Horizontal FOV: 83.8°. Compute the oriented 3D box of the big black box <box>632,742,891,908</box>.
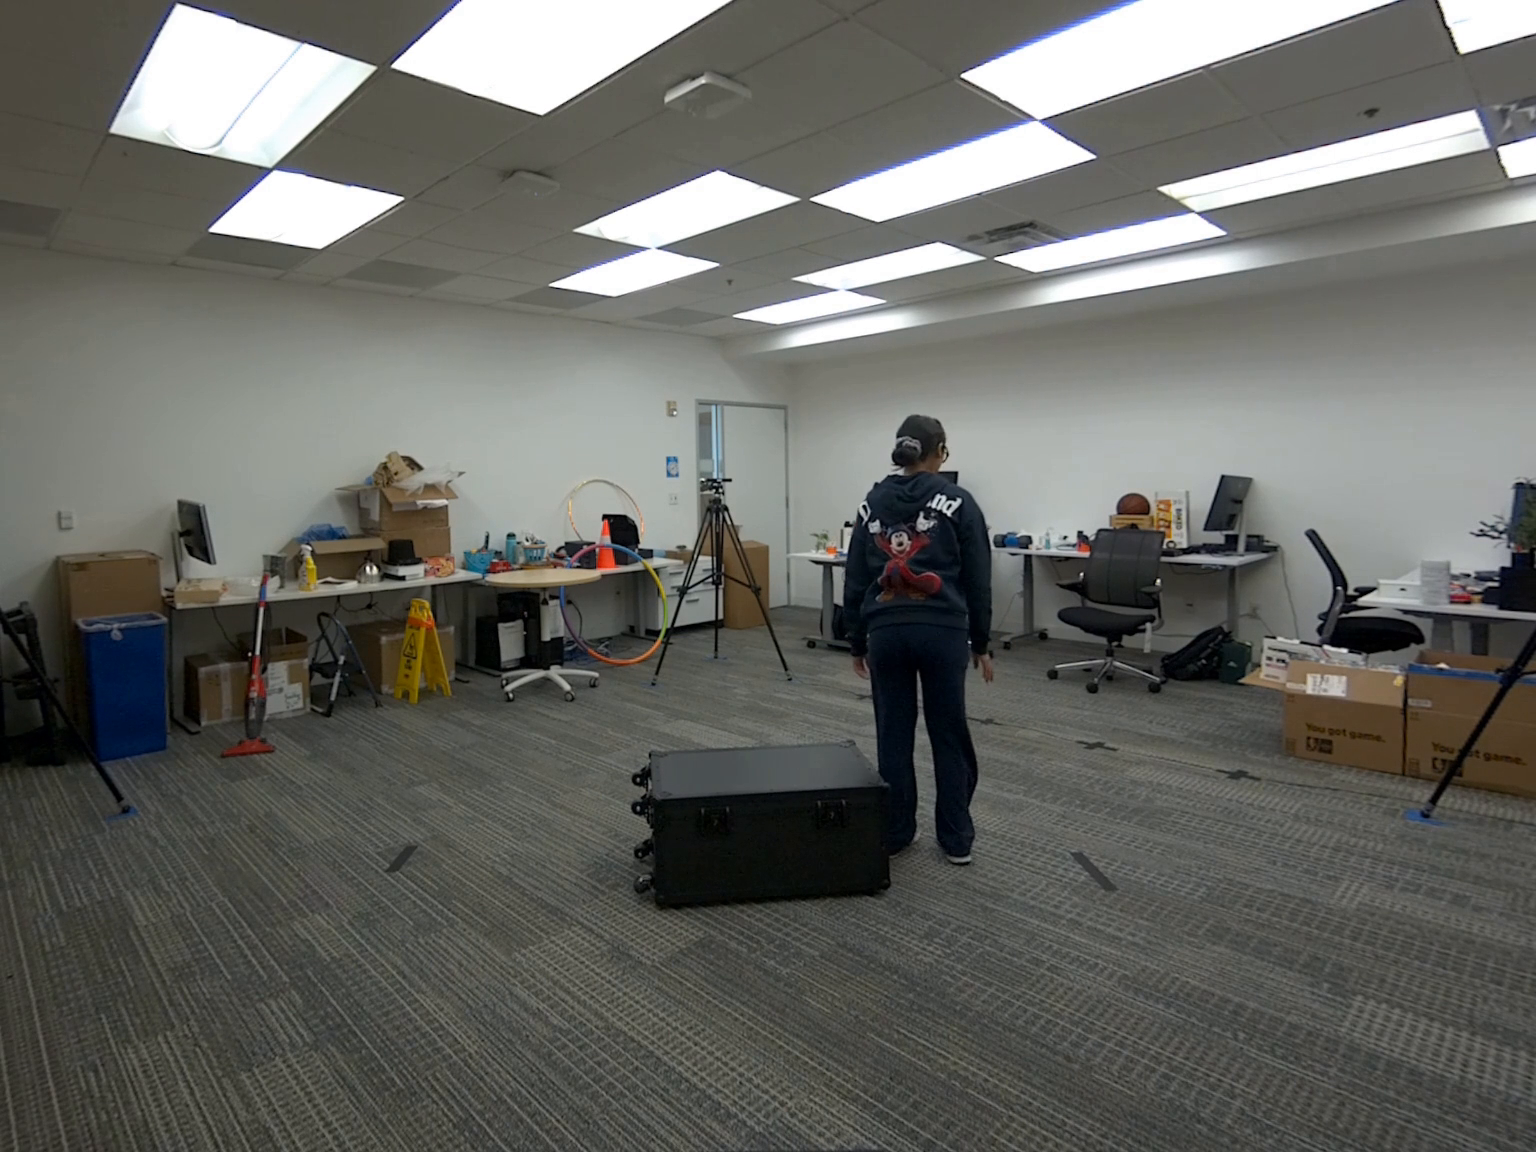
[{"bbox_3d":[-0.053,0.863,3.025,0.856,0.394,0.527,-2,6,-7],"label":"big black box"}]
